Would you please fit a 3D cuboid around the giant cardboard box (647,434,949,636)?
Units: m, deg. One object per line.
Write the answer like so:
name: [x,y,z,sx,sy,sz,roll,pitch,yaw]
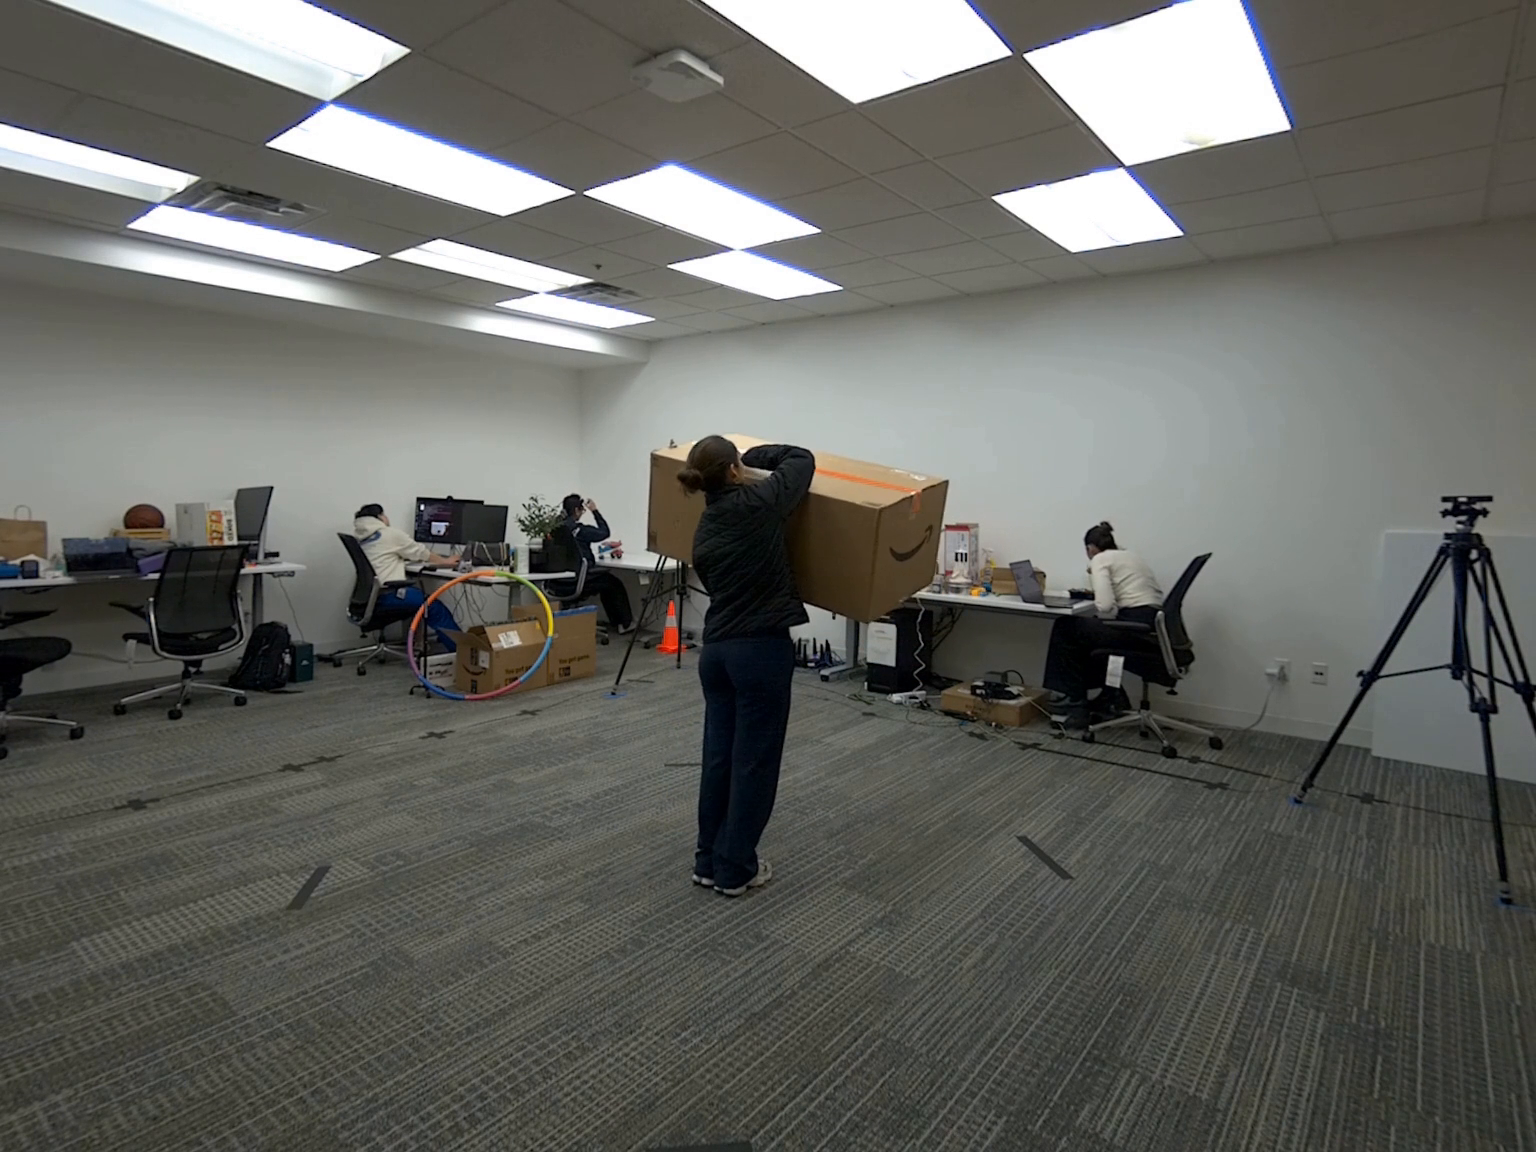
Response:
giant cardboard box: [0.118,-0.226,3.374,1.063,0.419,0.566,17,23,32]
